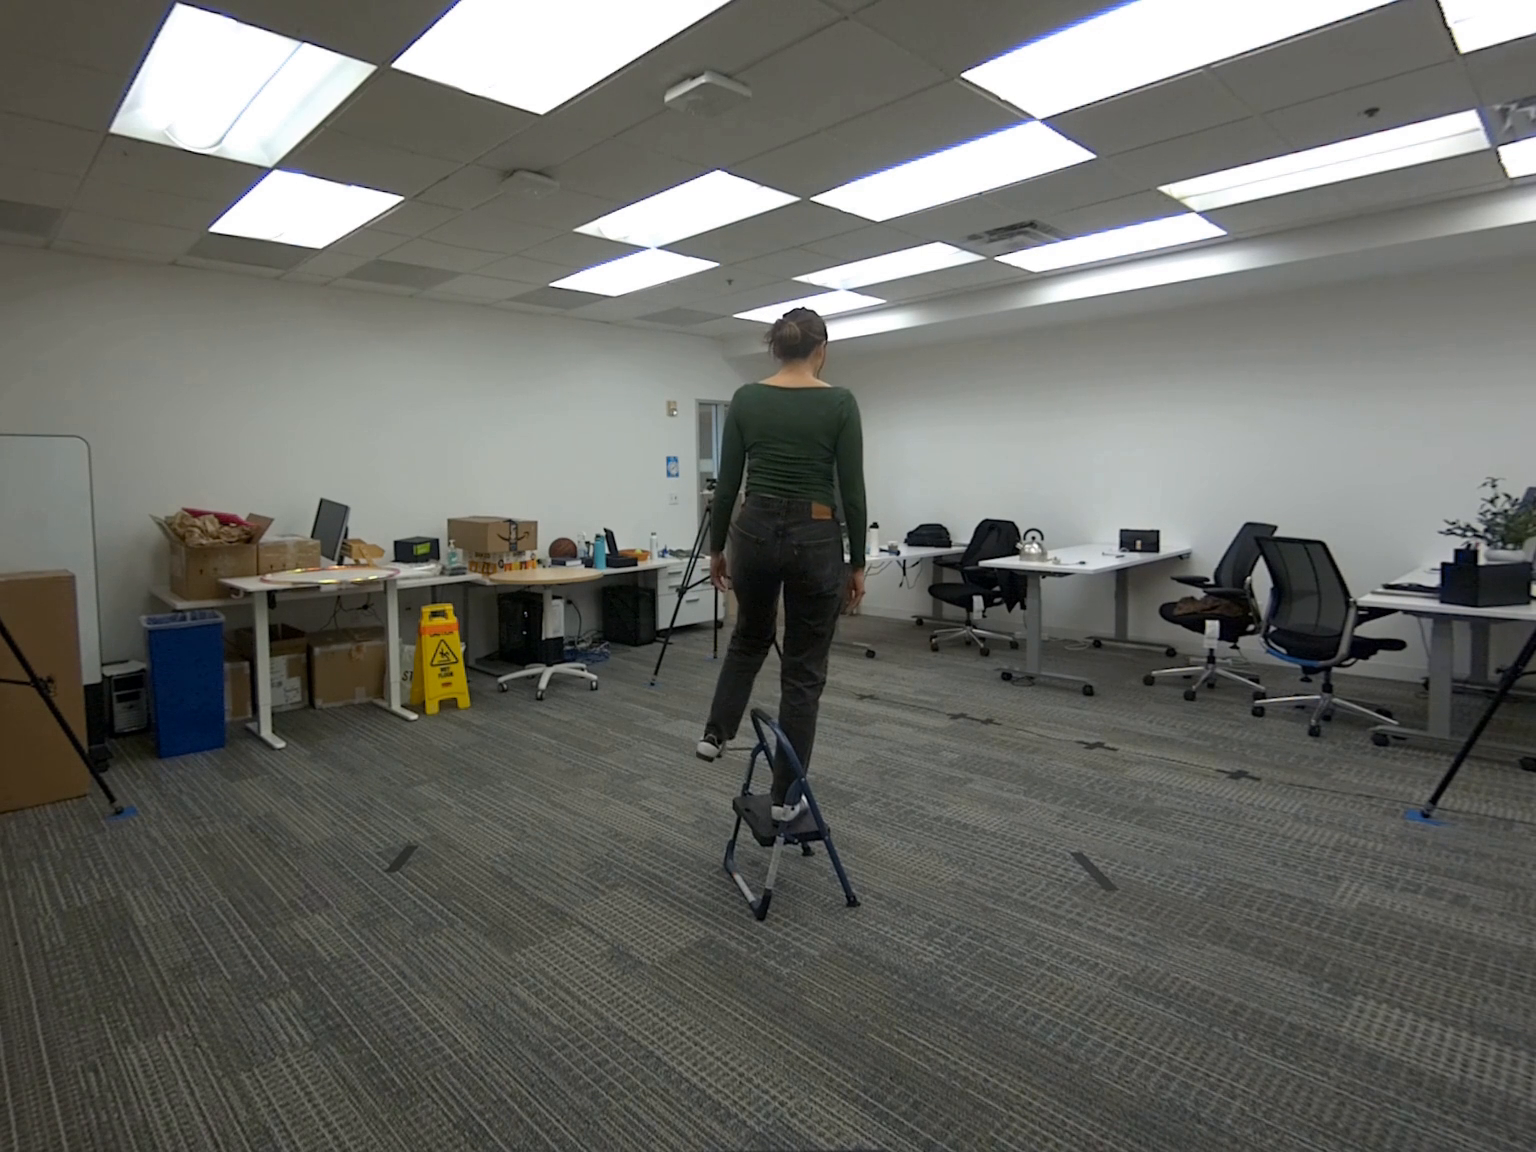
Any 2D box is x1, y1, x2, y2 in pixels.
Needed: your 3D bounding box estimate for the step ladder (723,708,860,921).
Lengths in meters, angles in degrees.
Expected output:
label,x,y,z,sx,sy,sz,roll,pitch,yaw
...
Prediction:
label,x,y,z,sx,sy,sz,roll,pitch,yaw
step ladder,0.063,0.763,2.921,0.344,0.604,0.439,-2,5,-18
